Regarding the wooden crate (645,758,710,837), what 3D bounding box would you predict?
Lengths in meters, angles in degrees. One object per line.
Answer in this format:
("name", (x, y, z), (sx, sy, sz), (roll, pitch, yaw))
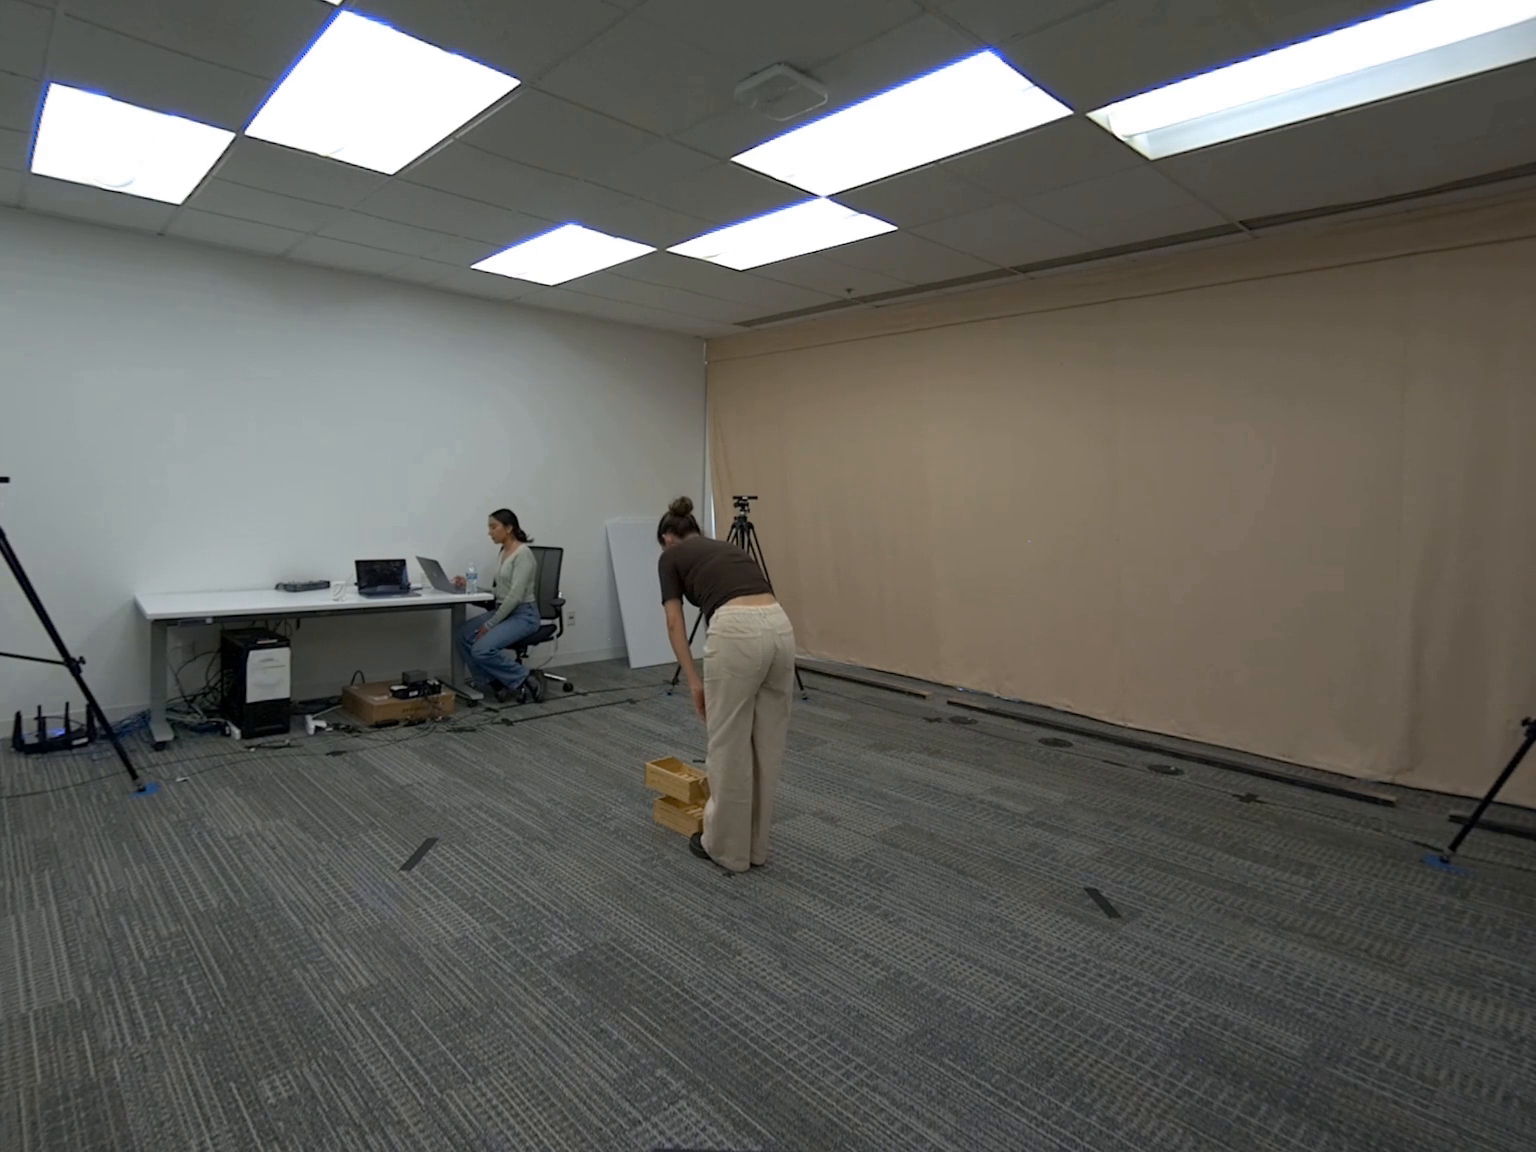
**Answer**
("wooden crate", (-0.322, 0.922, 3.565), (0.295, 0.272, 0.333), (-4, 7, -44))
